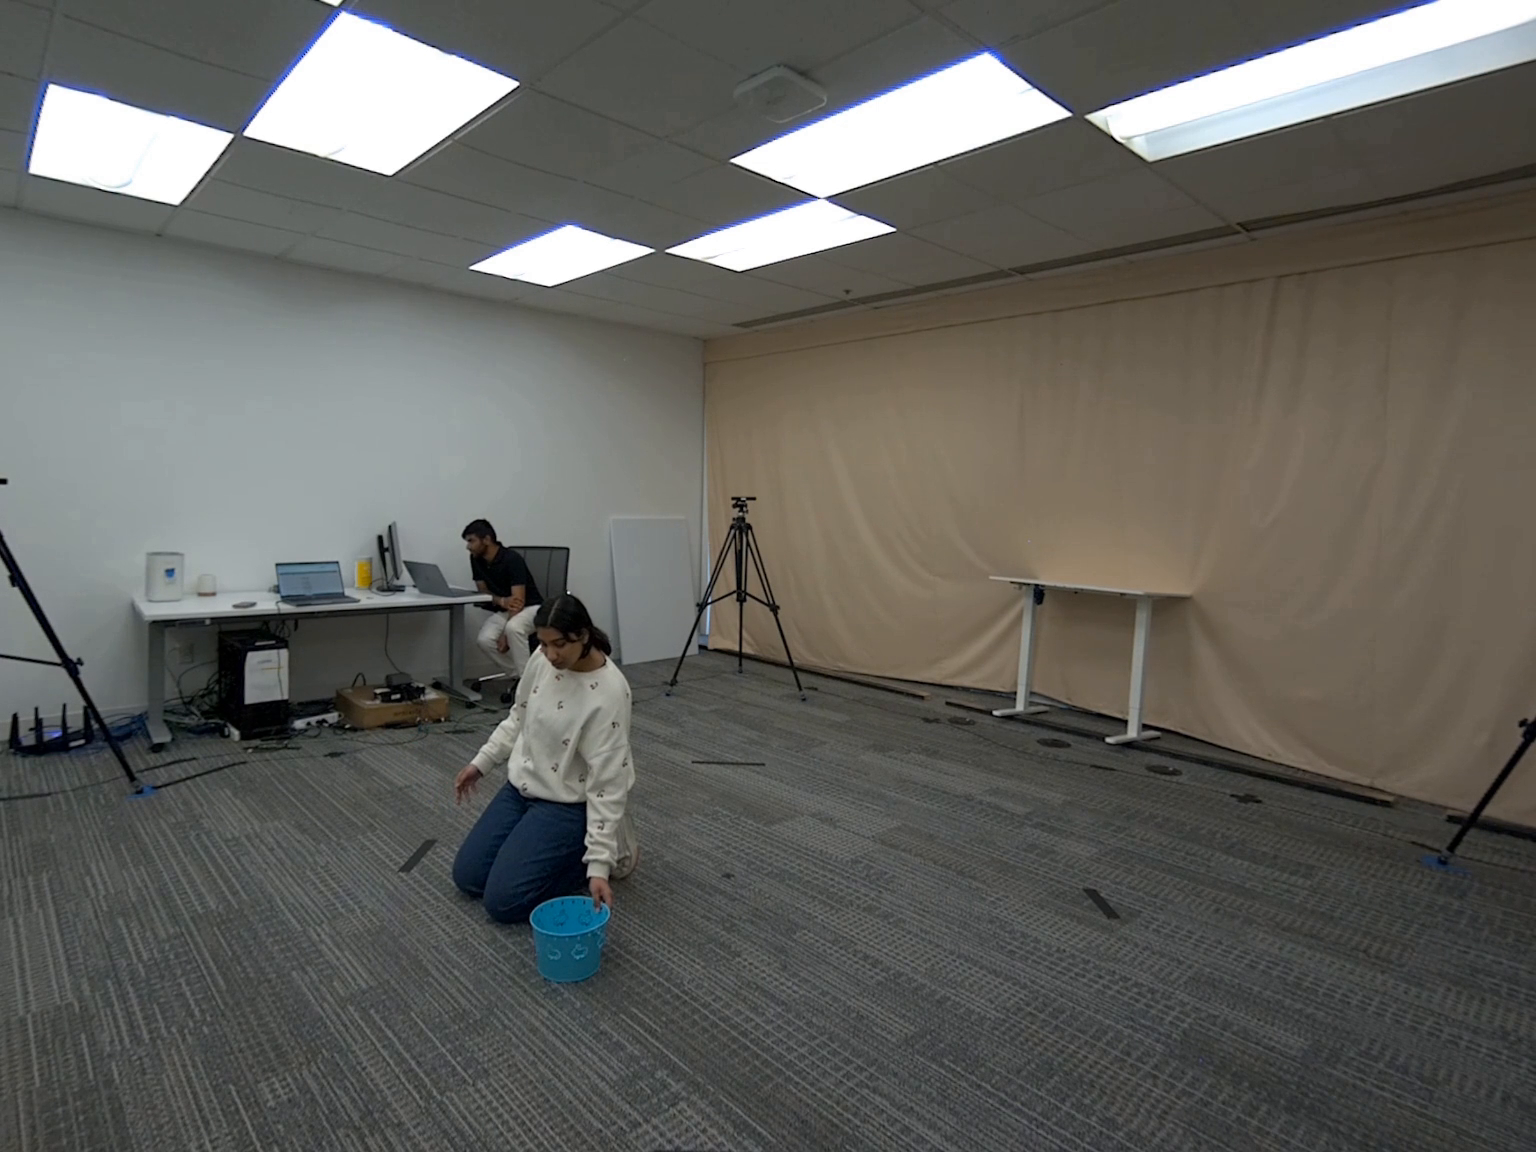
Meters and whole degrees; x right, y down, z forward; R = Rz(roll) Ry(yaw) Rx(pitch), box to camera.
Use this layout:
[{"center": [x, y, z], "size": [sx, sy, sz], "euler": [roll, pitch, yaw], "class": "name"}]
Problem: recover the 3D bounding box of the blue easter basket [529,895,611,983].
[{"center": [-0.604, 1.075, 2.482], "size": [0.243, 0.155, 0.245], "euler": [3, 6, -2], "class": "blue easter basket"}]
